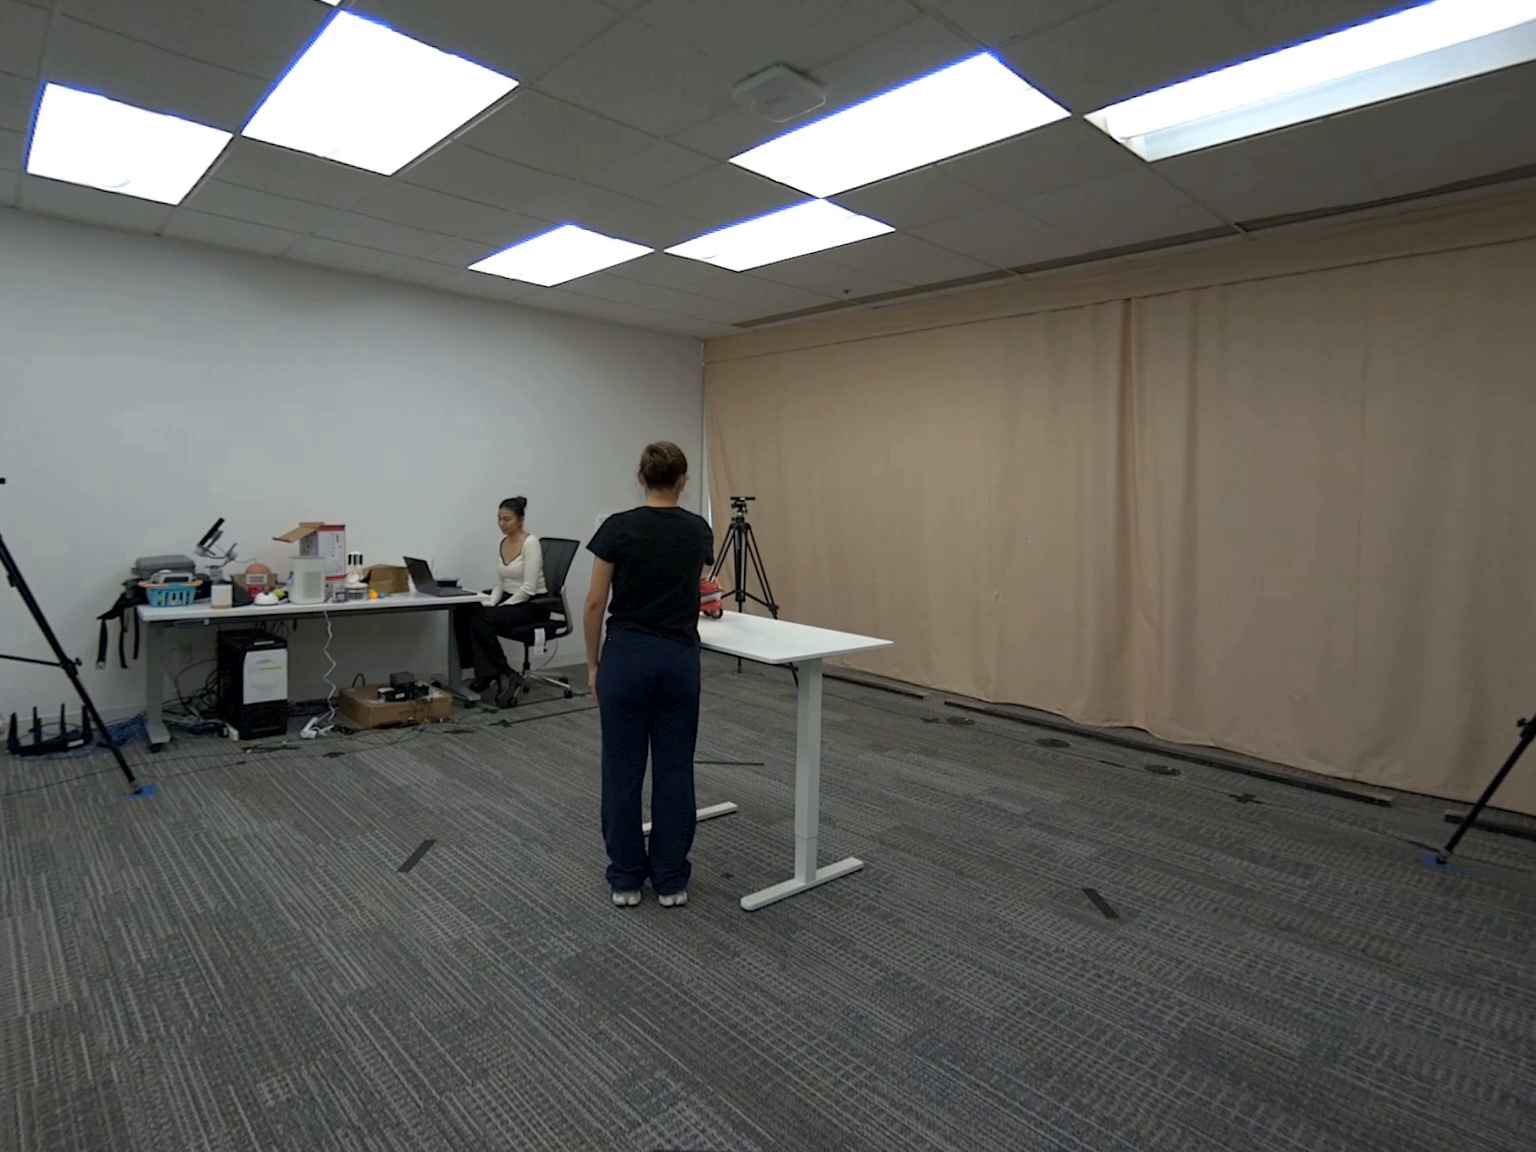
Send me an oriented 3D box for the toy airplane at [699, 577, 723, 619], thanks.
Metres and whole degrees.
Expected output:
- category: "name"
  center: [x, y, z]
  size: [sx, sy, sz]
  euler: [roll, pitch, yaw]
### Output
- category: "toy airplane"
  center: [-0.307, 0.106, 3.534]
  size: [0.257, 0.156, 0.253]
  euler: [5, 5, 36]
